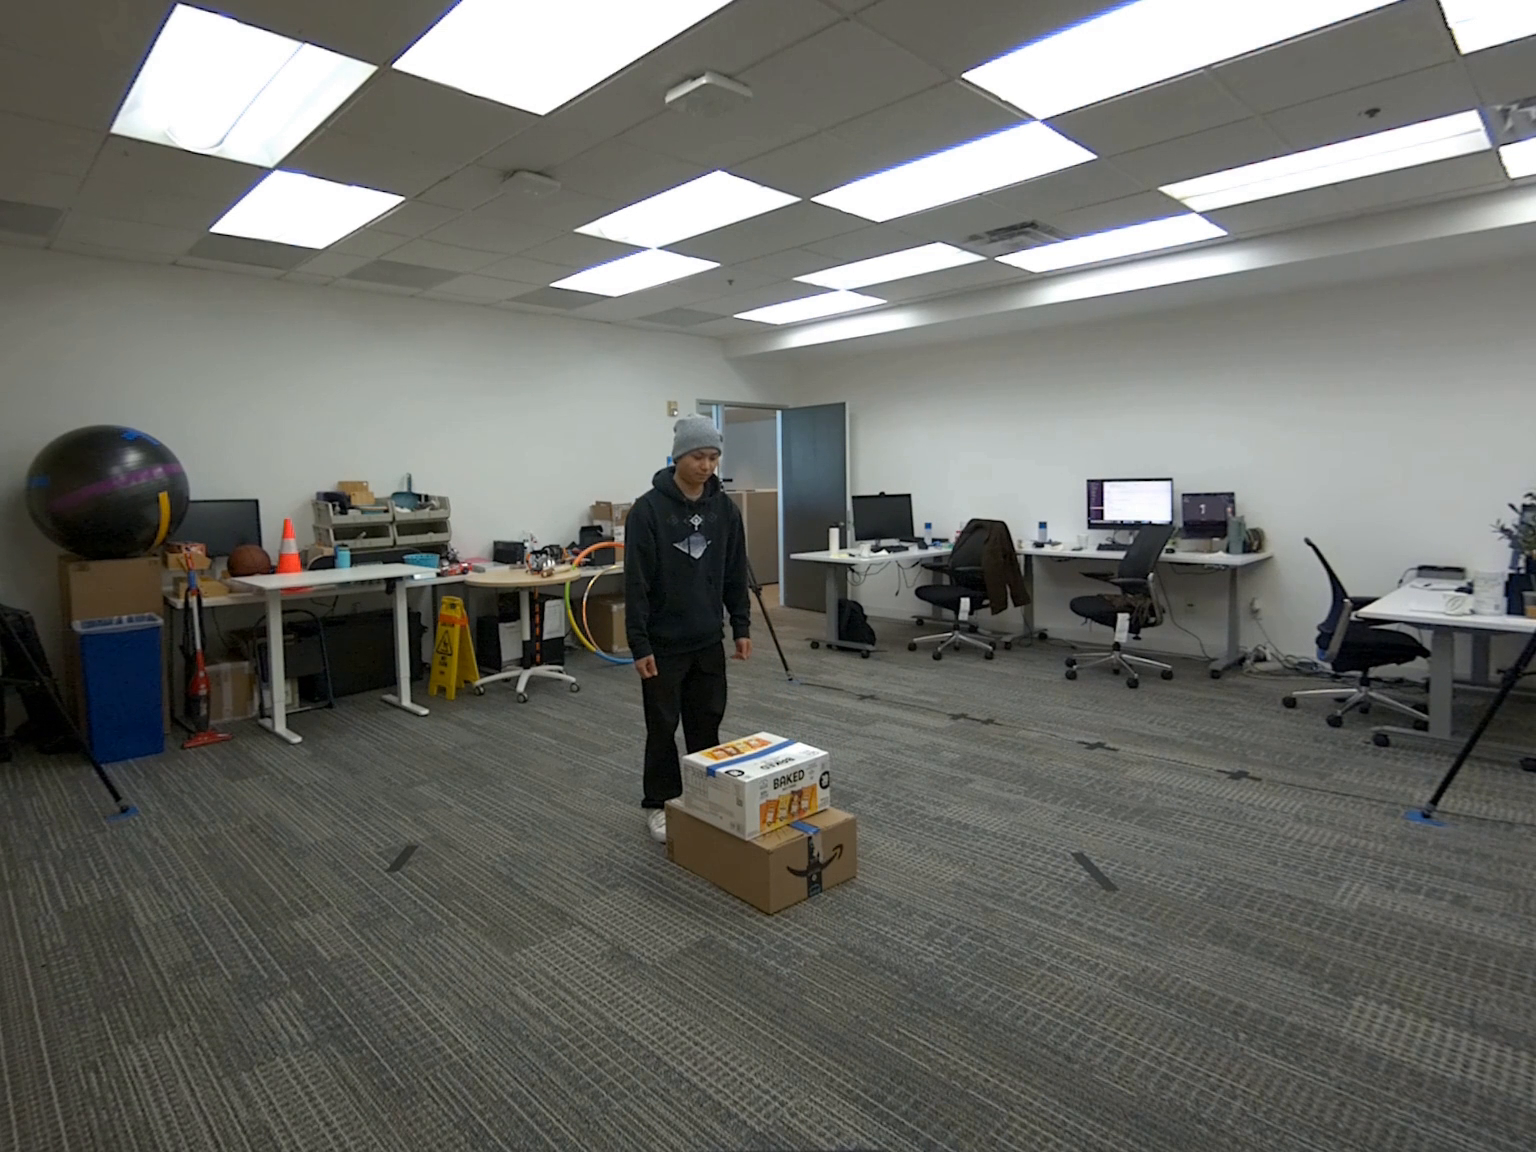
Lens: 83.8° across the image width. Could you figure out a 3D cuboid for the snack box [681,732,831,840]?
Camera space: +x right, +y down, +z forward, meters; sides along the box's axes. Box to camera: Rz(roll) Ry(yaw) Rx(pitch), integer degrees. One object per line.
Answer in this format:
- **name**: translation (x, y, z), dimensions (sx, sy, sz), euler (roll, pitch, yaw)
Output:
- **snack box**: translation (-0.038, 0.734, 3.032), dimensions (0.395, 0.205, 0.351), euler (-8, 9, -41)
